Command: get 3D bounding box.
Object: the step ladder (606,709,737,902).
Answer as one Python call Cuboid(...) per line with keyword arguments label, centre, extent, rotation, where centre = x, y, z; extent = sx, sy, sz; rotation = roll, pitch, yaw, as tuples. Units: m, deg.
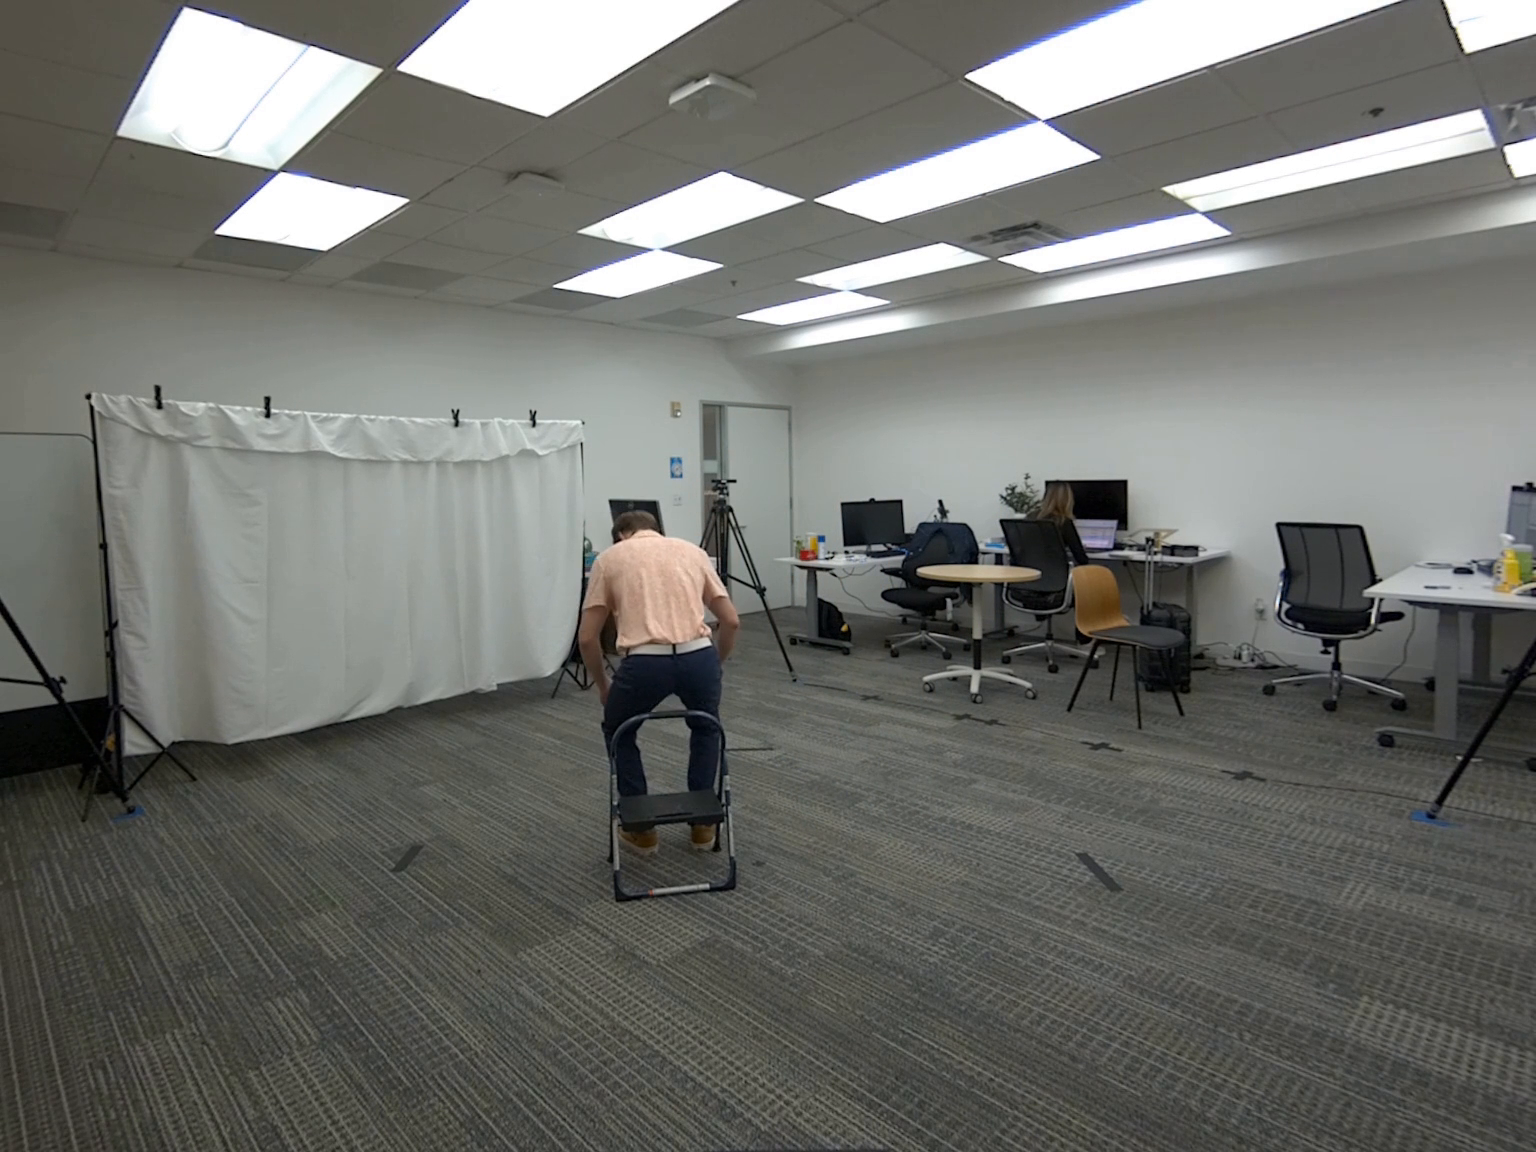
Cuboid(label="step ladder", centre=(-0.354, 0.765, 3.024), extent=(0.426, 0.604, 0.354), rotation=(-3, 4, -13))
